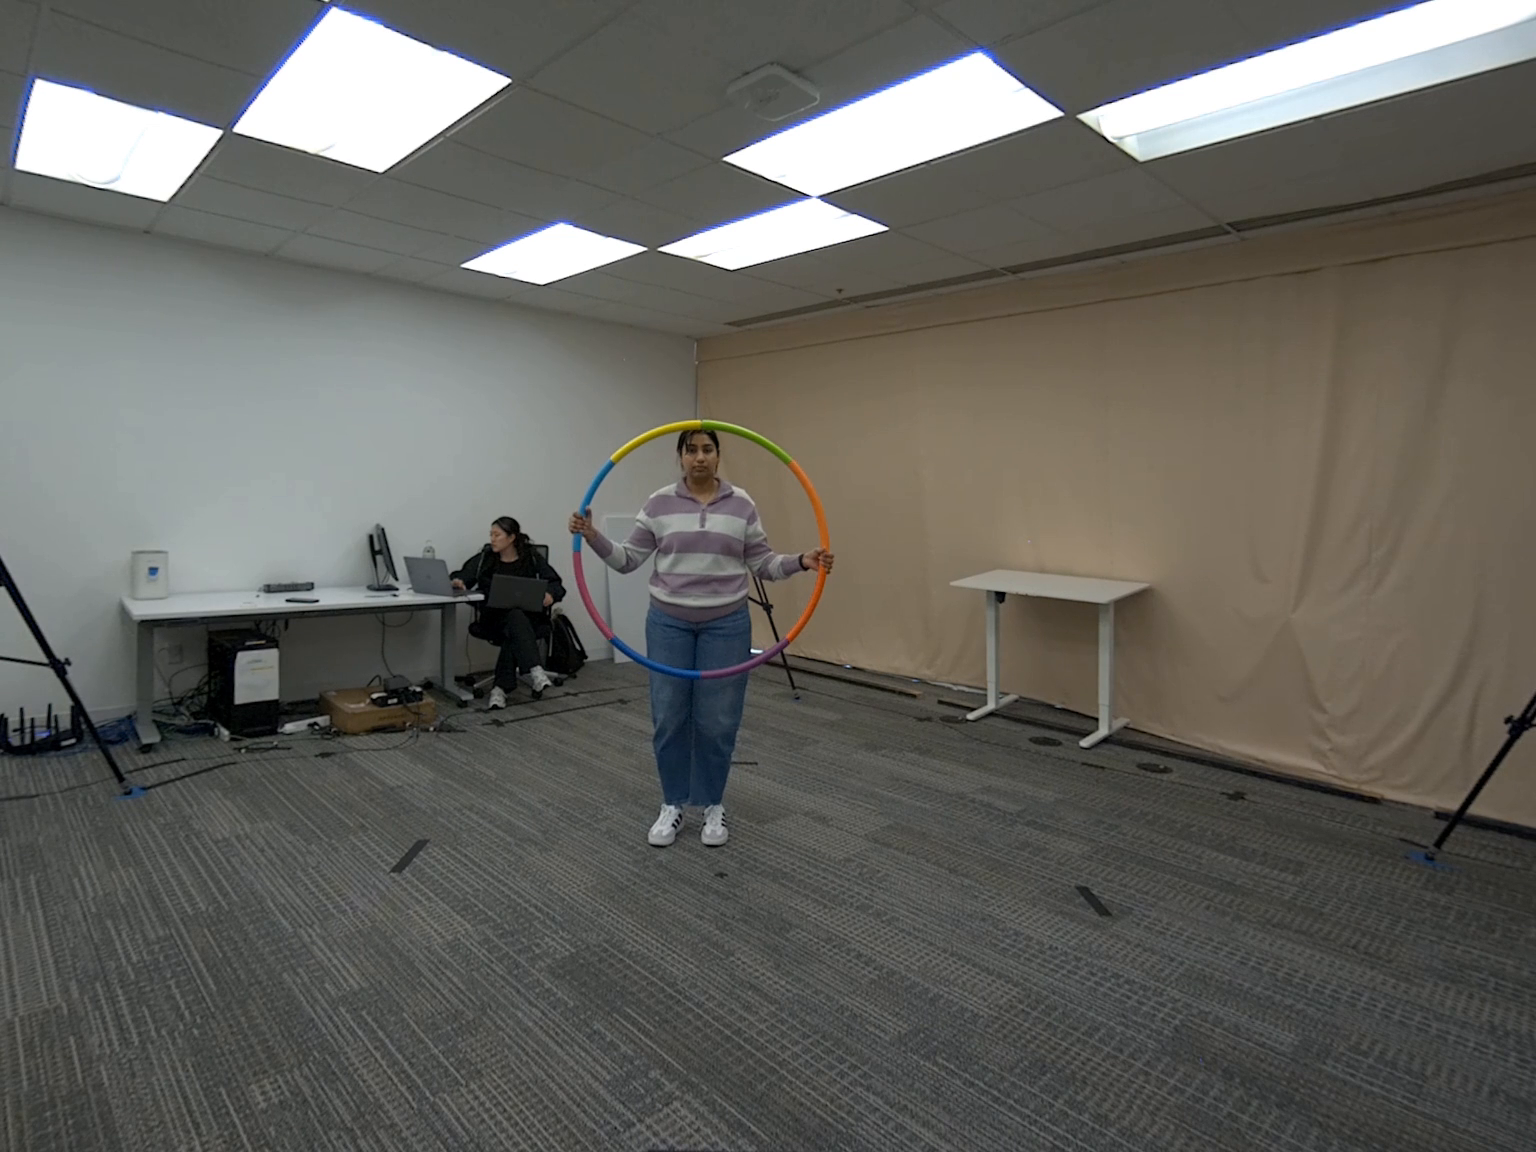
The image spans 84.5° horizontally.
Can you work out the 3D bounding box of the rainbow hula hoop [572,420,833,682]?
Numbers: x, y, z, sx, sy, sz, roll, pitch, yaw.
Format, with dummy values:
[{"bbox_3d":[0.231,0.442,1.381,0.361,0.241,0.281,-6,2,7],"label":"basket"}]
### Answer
[{"bbox_3d":[-0.260,-0.092,3.211,0.978,0.978,0.035,1,1,0],"label":"rainbow hula hoop"}]
